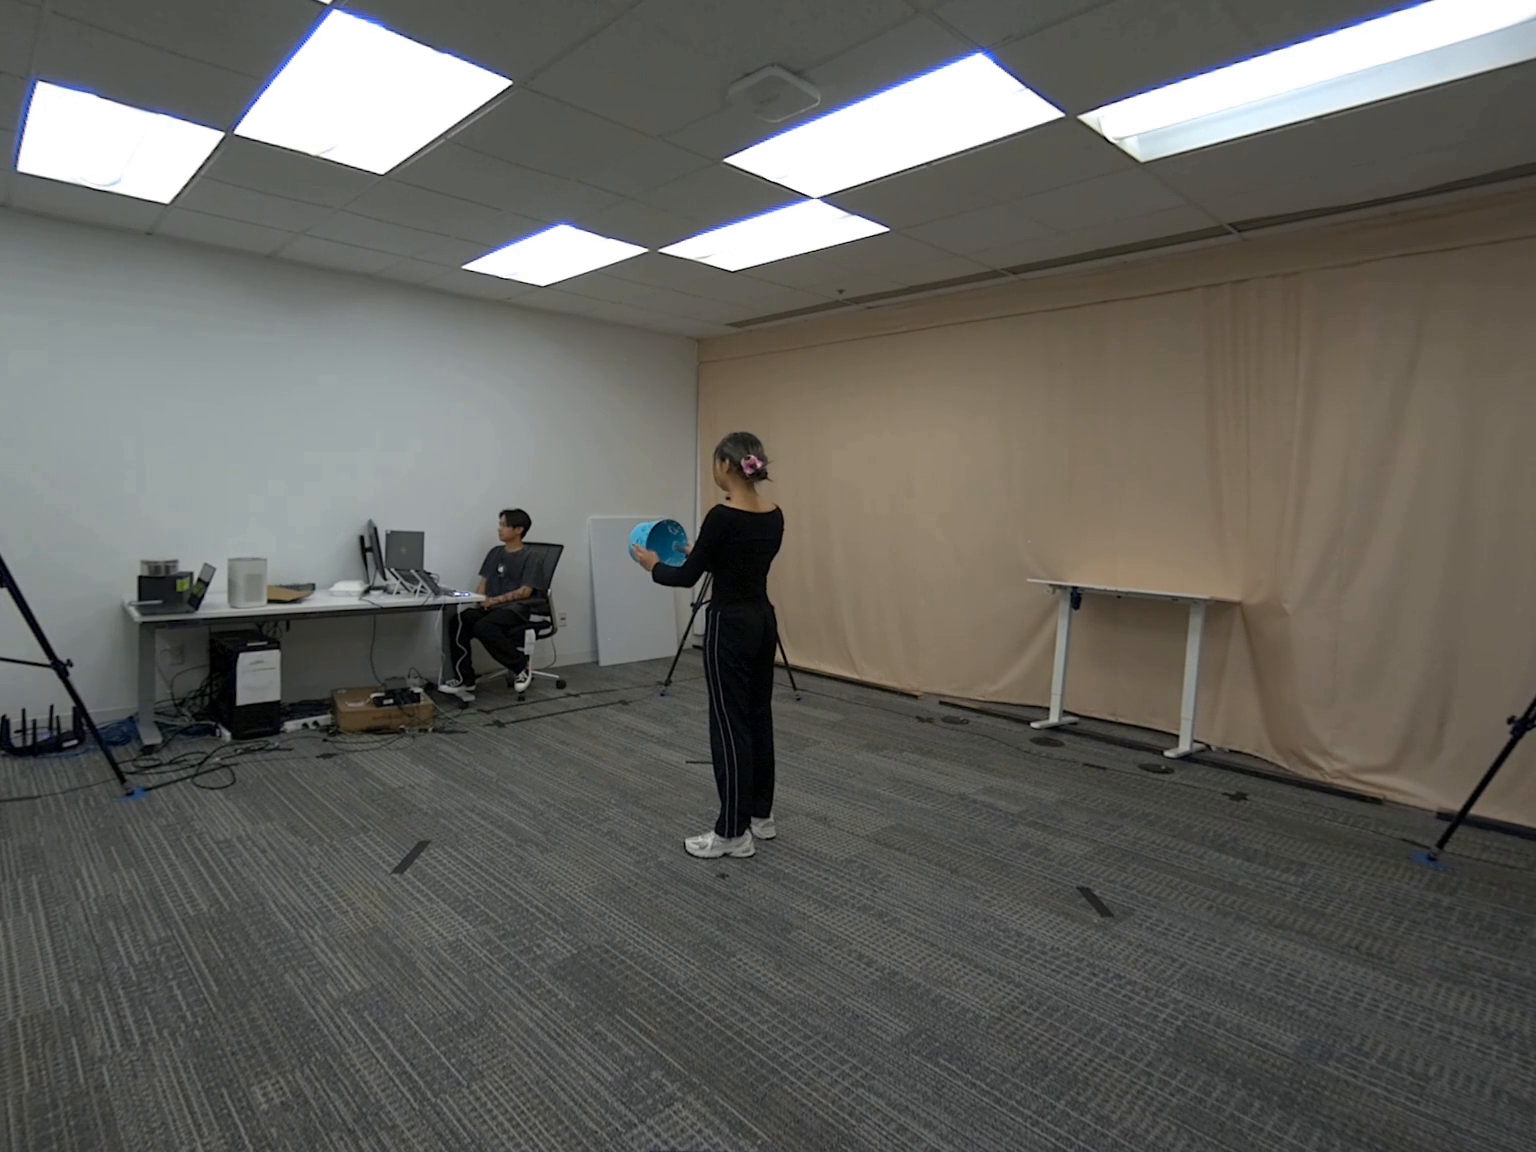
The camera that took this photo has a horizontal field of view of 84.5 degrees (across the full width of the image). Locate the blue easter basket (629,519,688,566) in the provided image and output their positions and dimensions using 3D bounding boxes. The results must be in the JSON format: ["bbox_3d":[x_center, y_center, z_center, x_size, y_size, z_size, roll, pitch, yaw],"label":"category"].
[{"bbox_3d":[-0.489,-0.136,3.612,0.160,0.243,0.238,4,5,43],"label":"blue easter basket"}]
